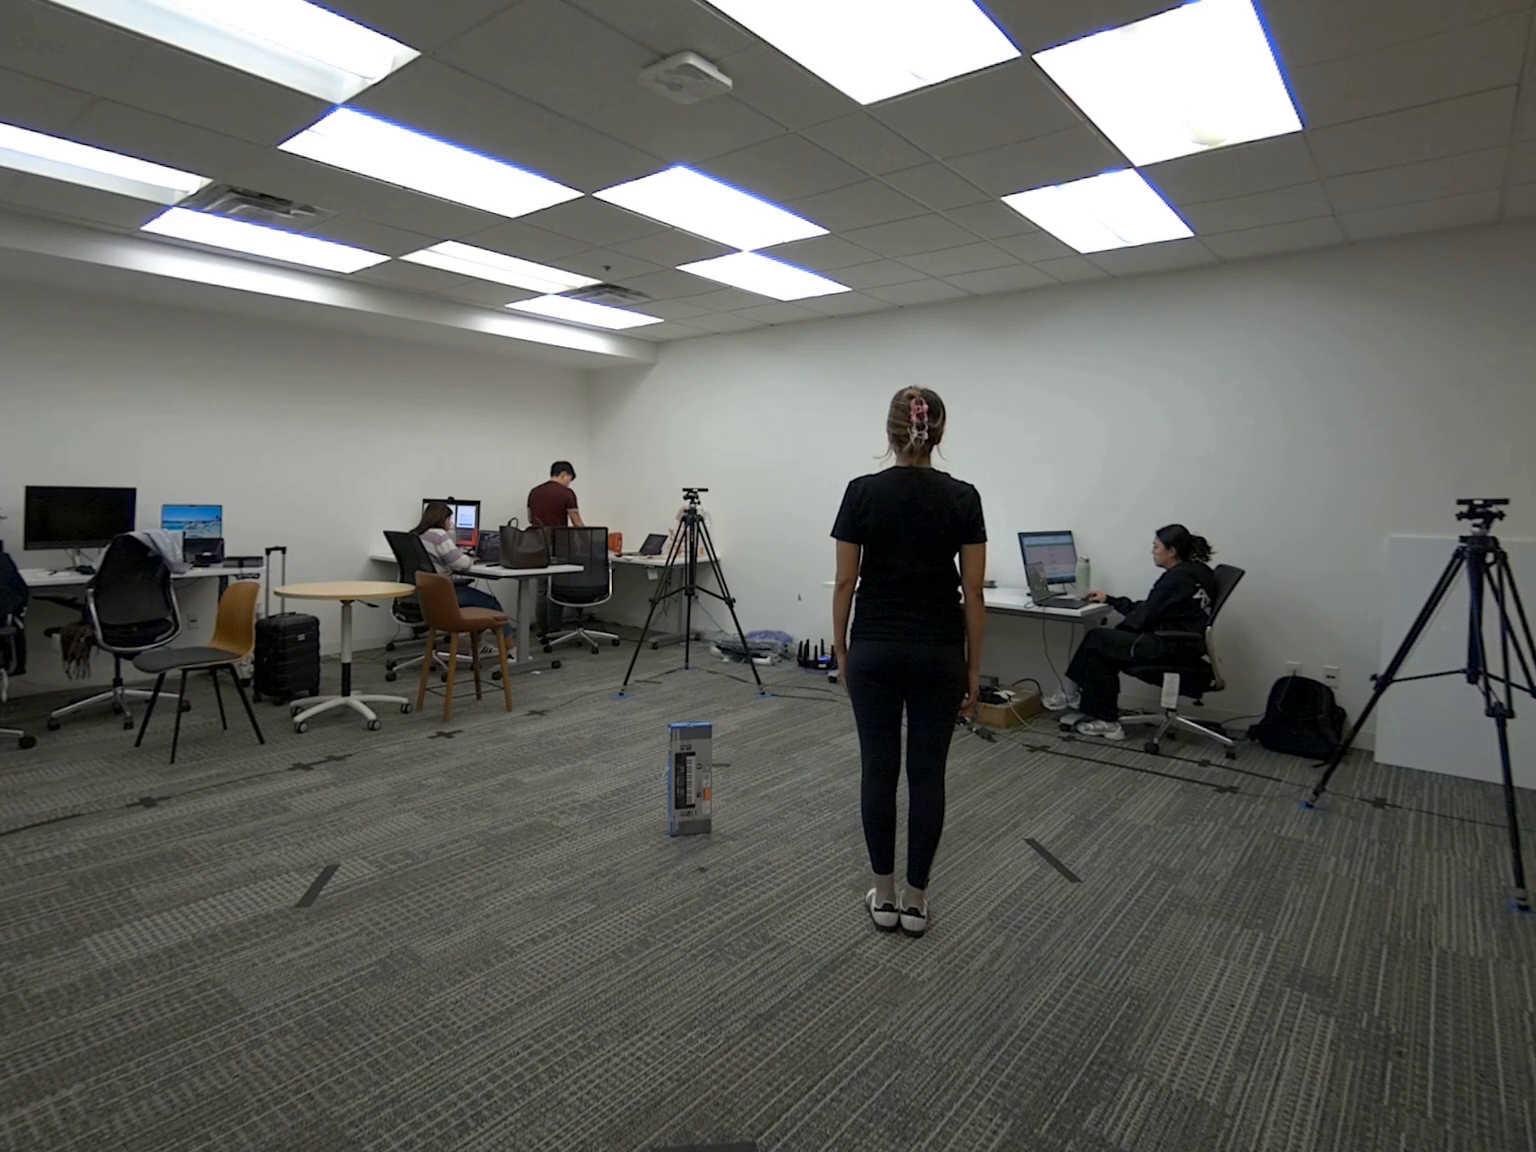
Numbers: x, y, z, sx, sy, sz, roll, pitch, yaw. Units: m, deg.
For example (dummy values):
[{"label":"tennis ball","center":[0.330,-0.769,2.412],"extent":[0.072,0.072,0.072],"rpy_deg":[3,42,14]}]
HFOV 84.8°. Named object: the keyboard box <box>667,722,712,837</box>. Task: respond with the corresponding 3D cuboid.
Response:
[{"label":"keyboard box","center":[-0.327,0.817,3.445],"extent":[0.173,0.437,0.060],"rpy_deg":[0,0,-16]}]
